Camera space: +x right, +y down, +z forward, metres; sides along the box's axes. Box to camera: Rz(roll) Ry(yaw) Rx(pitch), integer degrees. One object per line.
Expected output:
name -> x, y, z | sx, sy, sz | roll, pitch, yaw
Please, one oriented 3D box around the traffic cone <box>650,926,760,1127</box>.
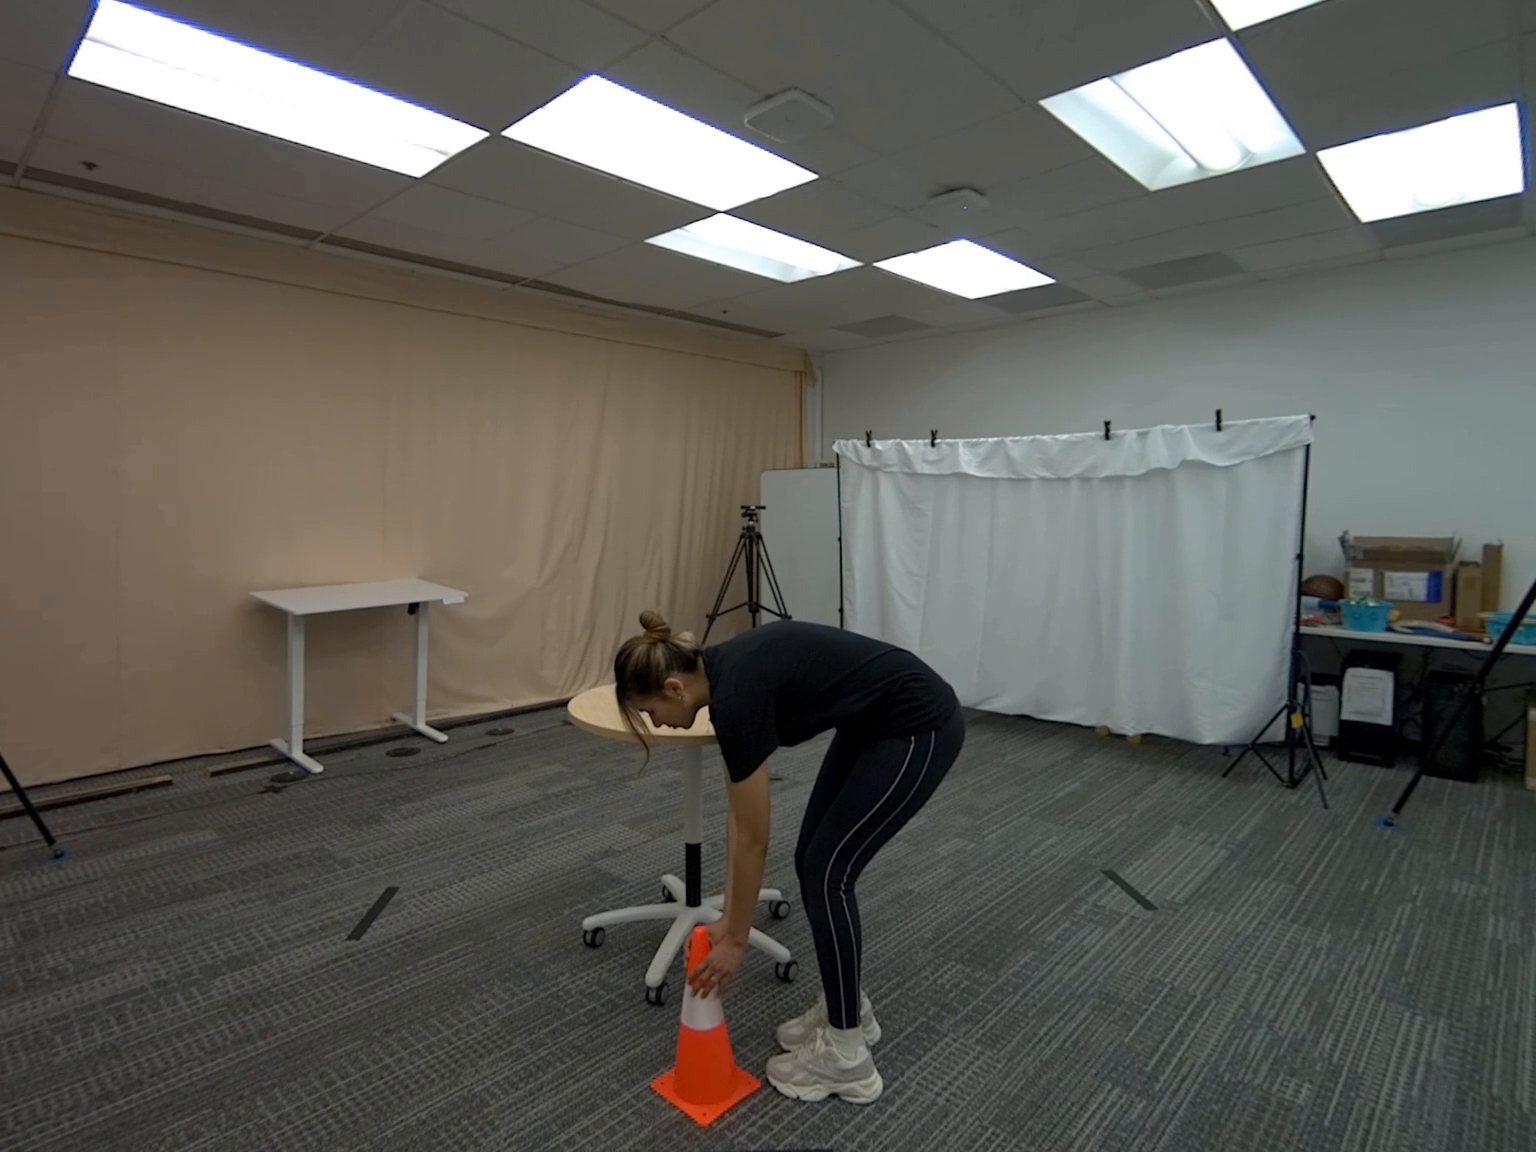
traffic cone -> -0.159, 1.054, 1.995 | 0.197, 0.382, 0.212 | -8, 8, -42
